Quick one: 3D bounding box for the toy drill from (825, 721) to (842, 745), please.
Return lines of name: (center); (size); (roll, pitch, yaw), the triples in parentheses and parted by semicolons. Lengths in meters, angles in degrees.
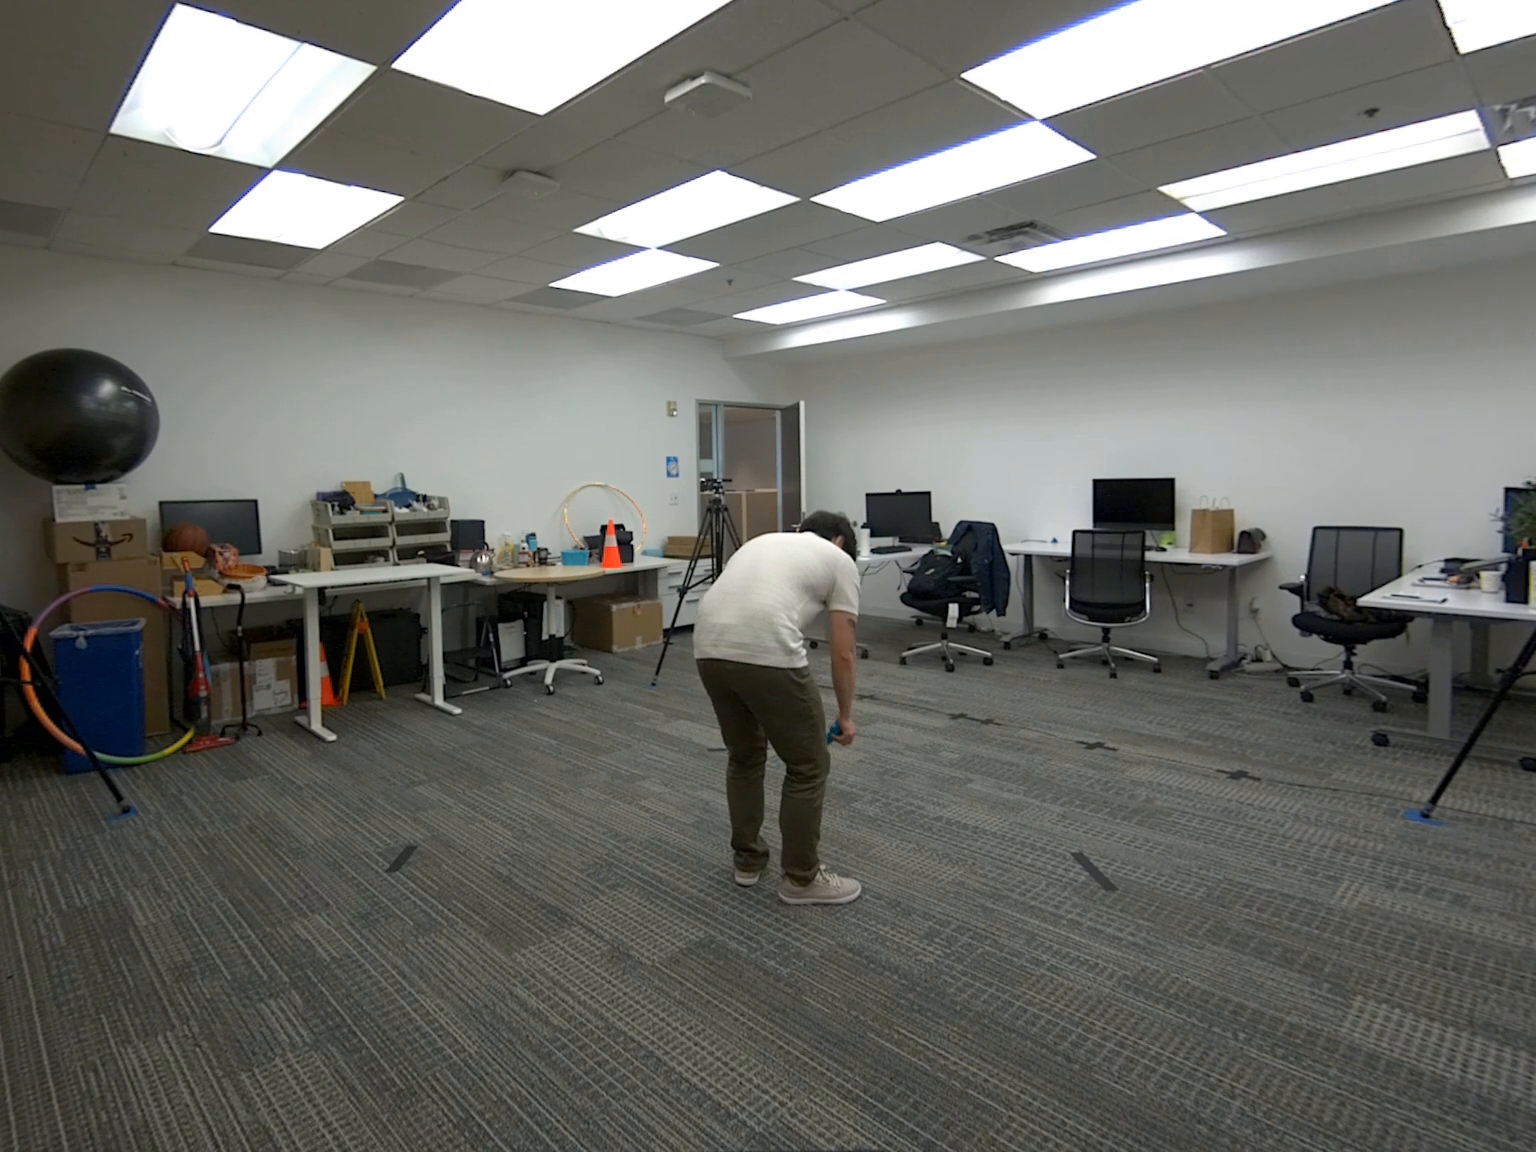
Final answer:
toy drill: (0.257, 0.543, 3.040); (0.146, 0.062, 0.165); (-33, -18, 9)
